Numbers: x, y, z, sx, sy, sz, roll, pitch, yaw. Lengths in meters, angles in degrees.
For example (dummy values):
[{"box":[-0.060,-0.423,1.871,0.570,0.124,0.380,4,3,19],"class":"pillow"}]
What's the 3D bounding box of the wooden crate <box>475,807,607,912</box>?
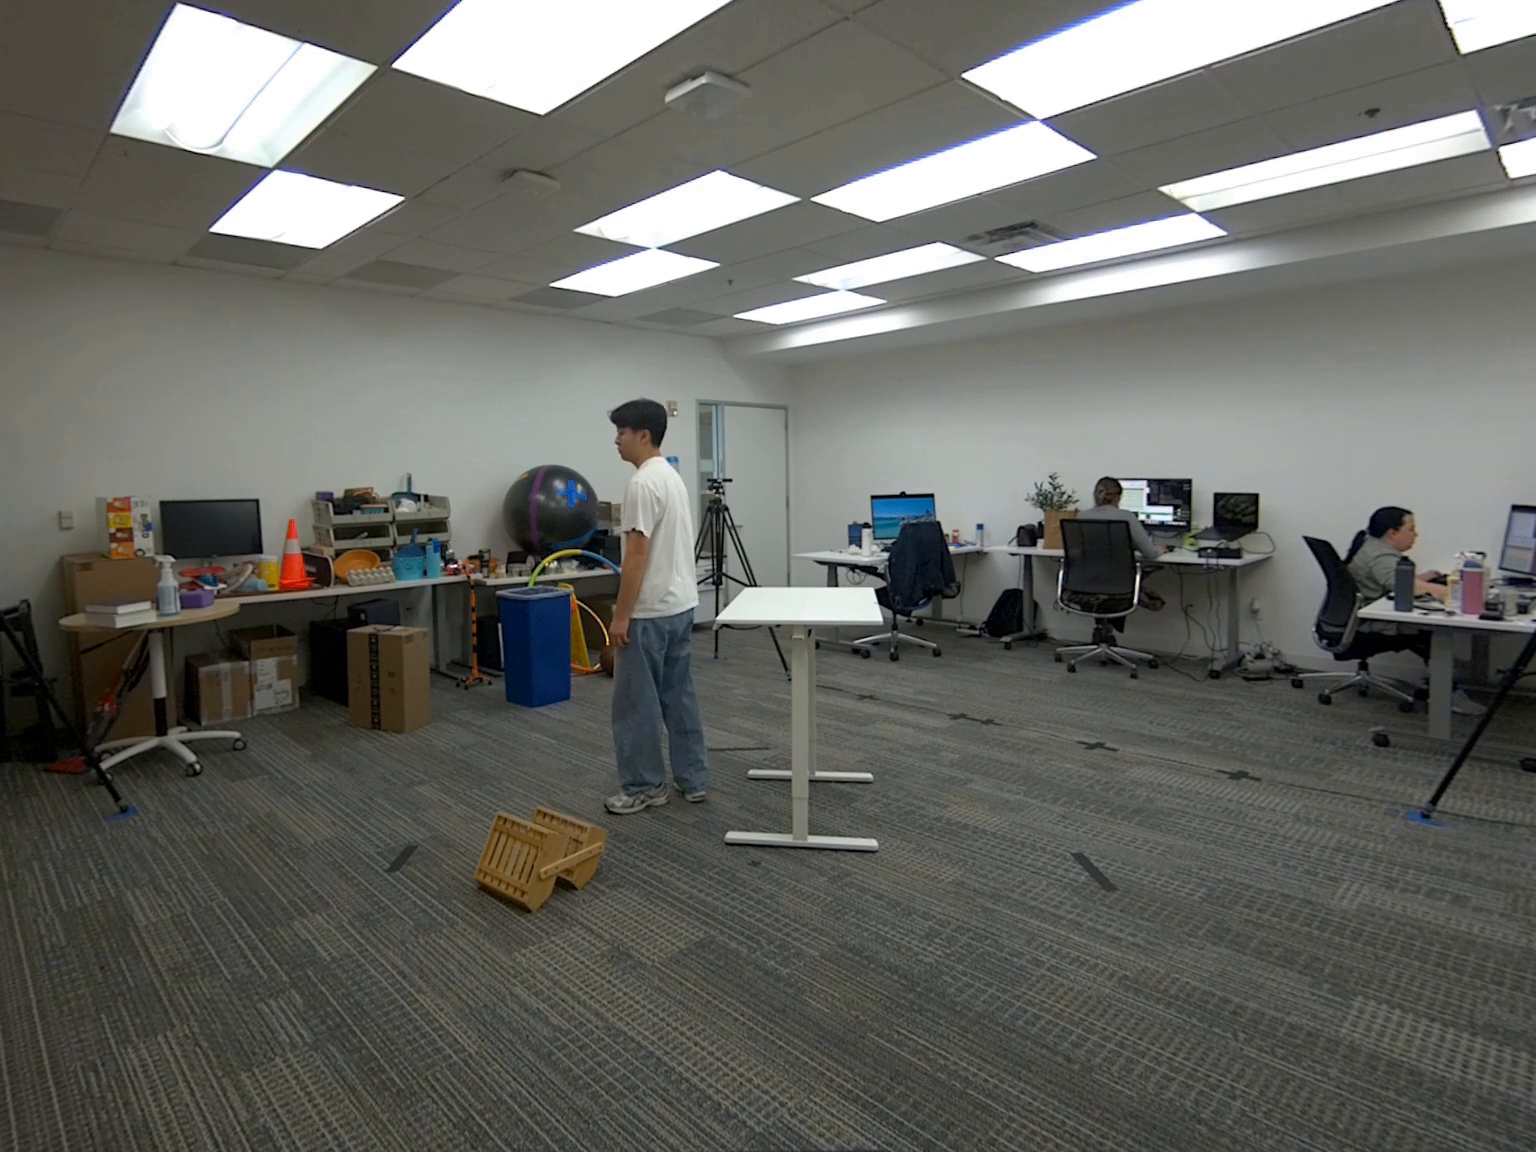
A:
[{"box":[-0.791,0.985,2.990,0.334,0.305,0.263,4,-21,39],"class":"wooden crate"}]
